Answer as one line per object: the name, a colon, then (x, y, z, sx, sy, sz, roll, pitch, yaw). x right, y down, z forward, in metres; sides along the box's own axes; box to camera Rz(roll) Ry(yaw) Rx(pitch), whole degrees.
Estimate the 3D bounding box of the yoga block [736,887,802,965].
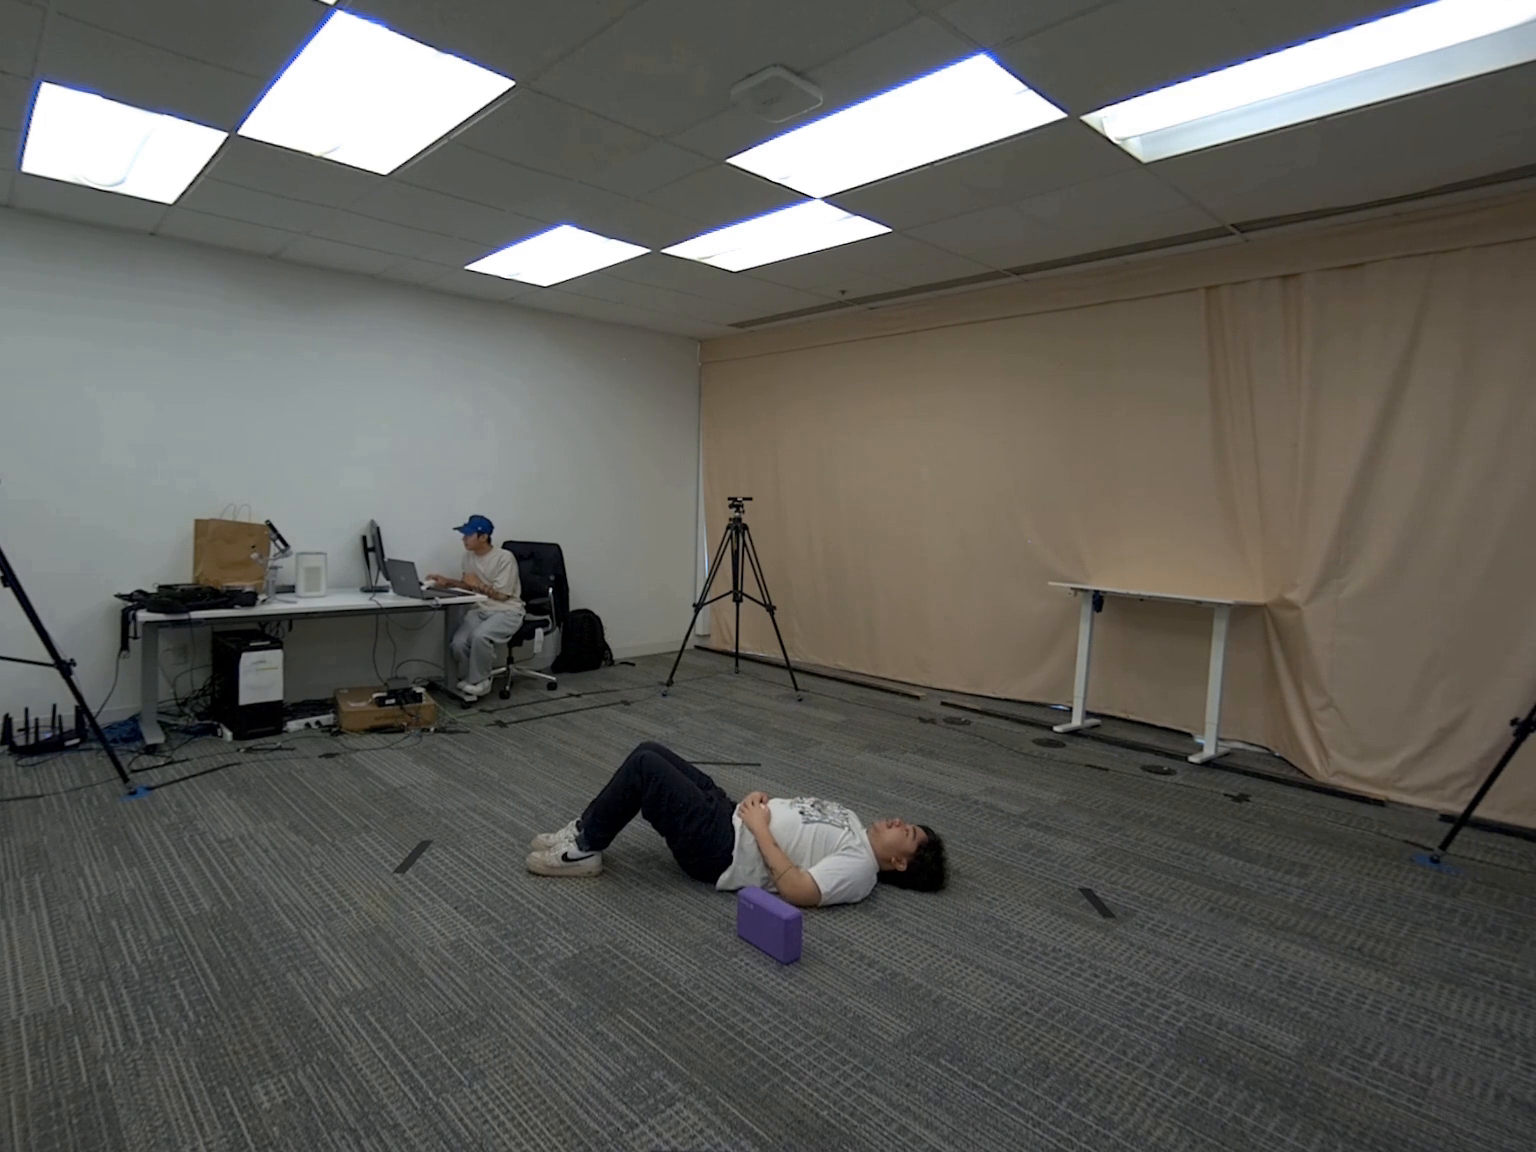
yoga block: (-0.005, 1.080, 2.614, 0.075, 0.148, 0.235, -3, 7, -43)
